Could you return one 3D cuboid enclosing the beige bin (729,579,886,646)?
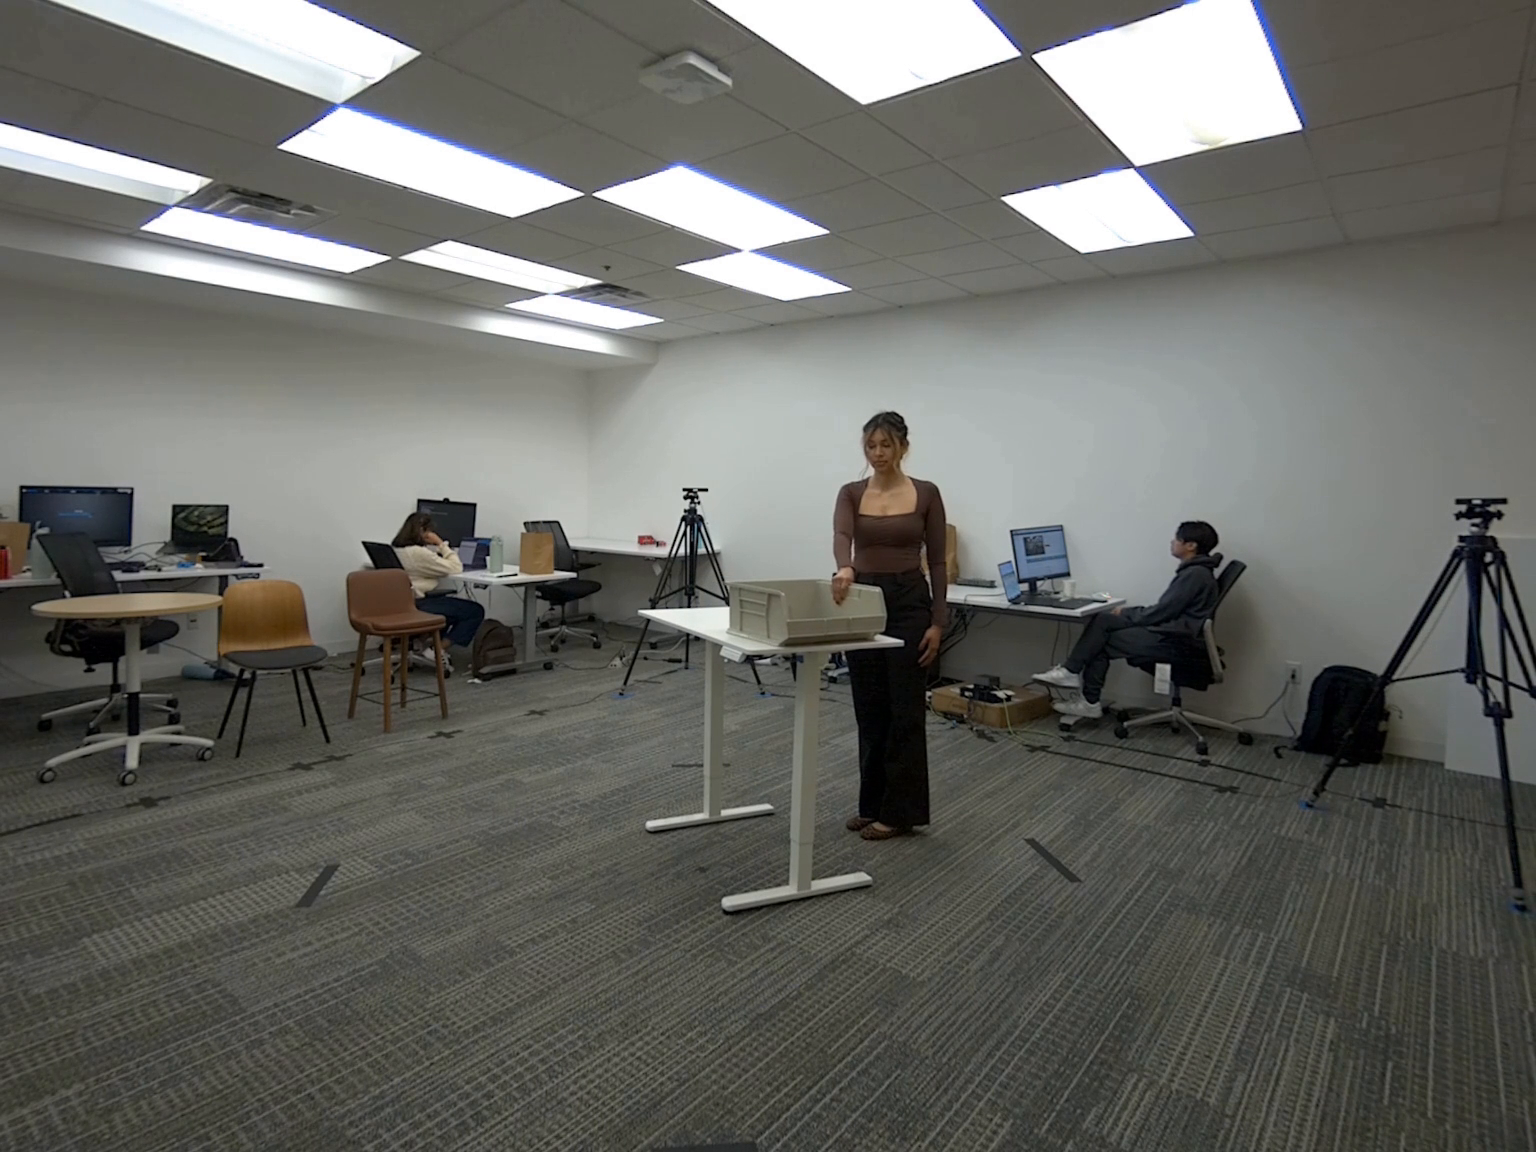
[{"bbox_3d":[0.116,0.119,2.923,0.411,0.188,0.389,-2,5,-33],"label":"beige bin"}]
